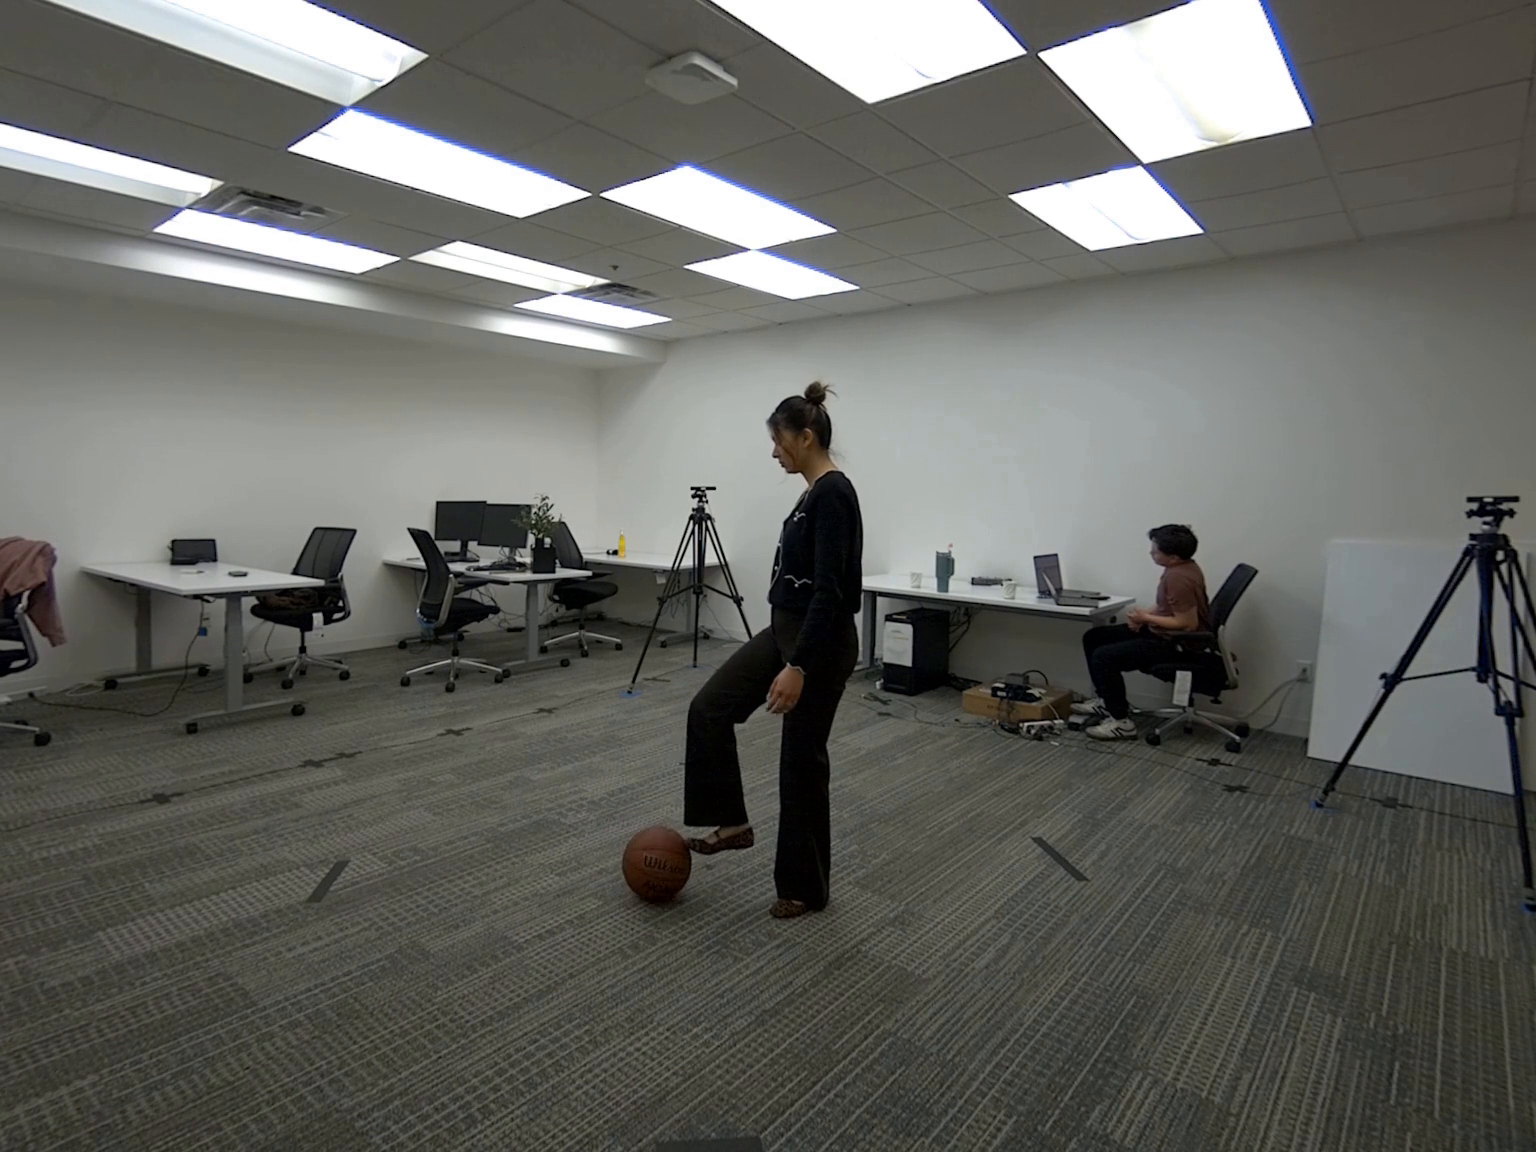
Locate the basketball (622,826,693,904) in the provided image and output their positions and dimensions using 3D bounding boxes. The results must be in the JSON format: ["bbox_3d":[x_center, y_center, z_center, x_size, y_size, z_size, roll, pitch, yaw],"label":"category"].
[{"bbox_3d":[-0.398,0.968,2.869,0.235,0.235,0.237,1,4,-2],"label":"basketball"}]
